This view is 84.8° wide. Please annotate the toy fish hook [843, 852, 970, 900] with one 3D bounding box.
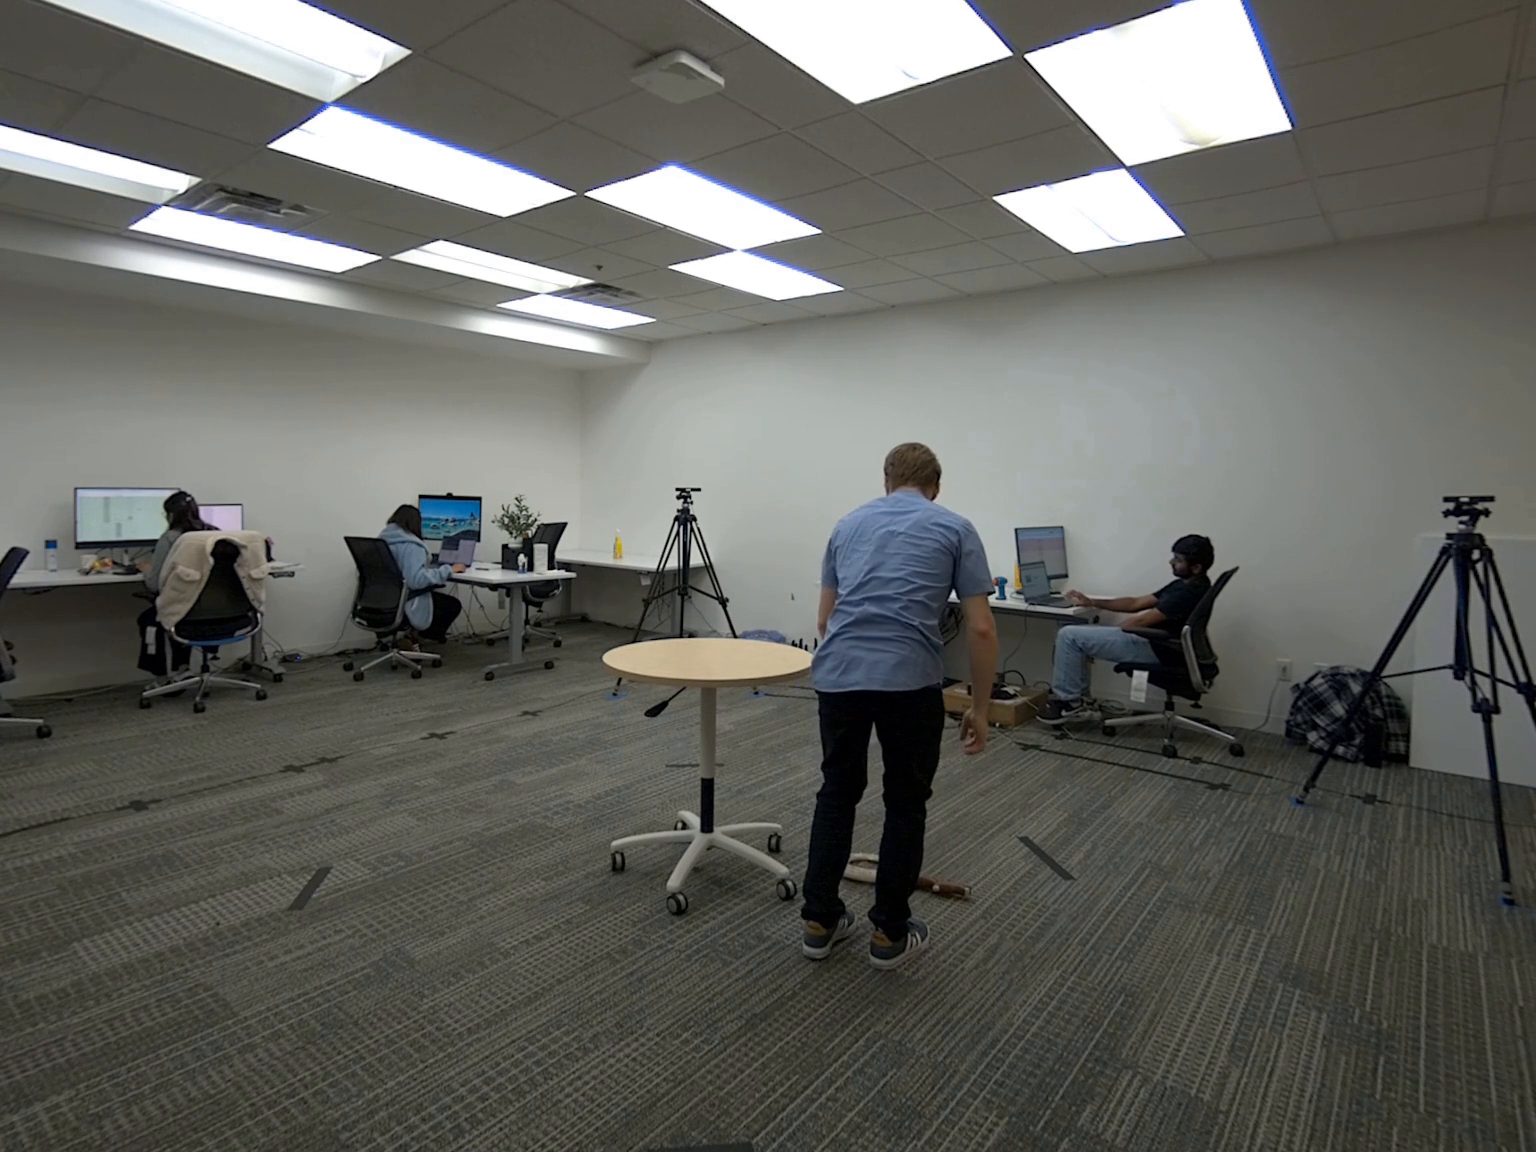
[{"bbox_3d":[0.457,1.059,3.067,0.519,0.048,0.220,4,7,22],"label":"toy fish hook"}]
